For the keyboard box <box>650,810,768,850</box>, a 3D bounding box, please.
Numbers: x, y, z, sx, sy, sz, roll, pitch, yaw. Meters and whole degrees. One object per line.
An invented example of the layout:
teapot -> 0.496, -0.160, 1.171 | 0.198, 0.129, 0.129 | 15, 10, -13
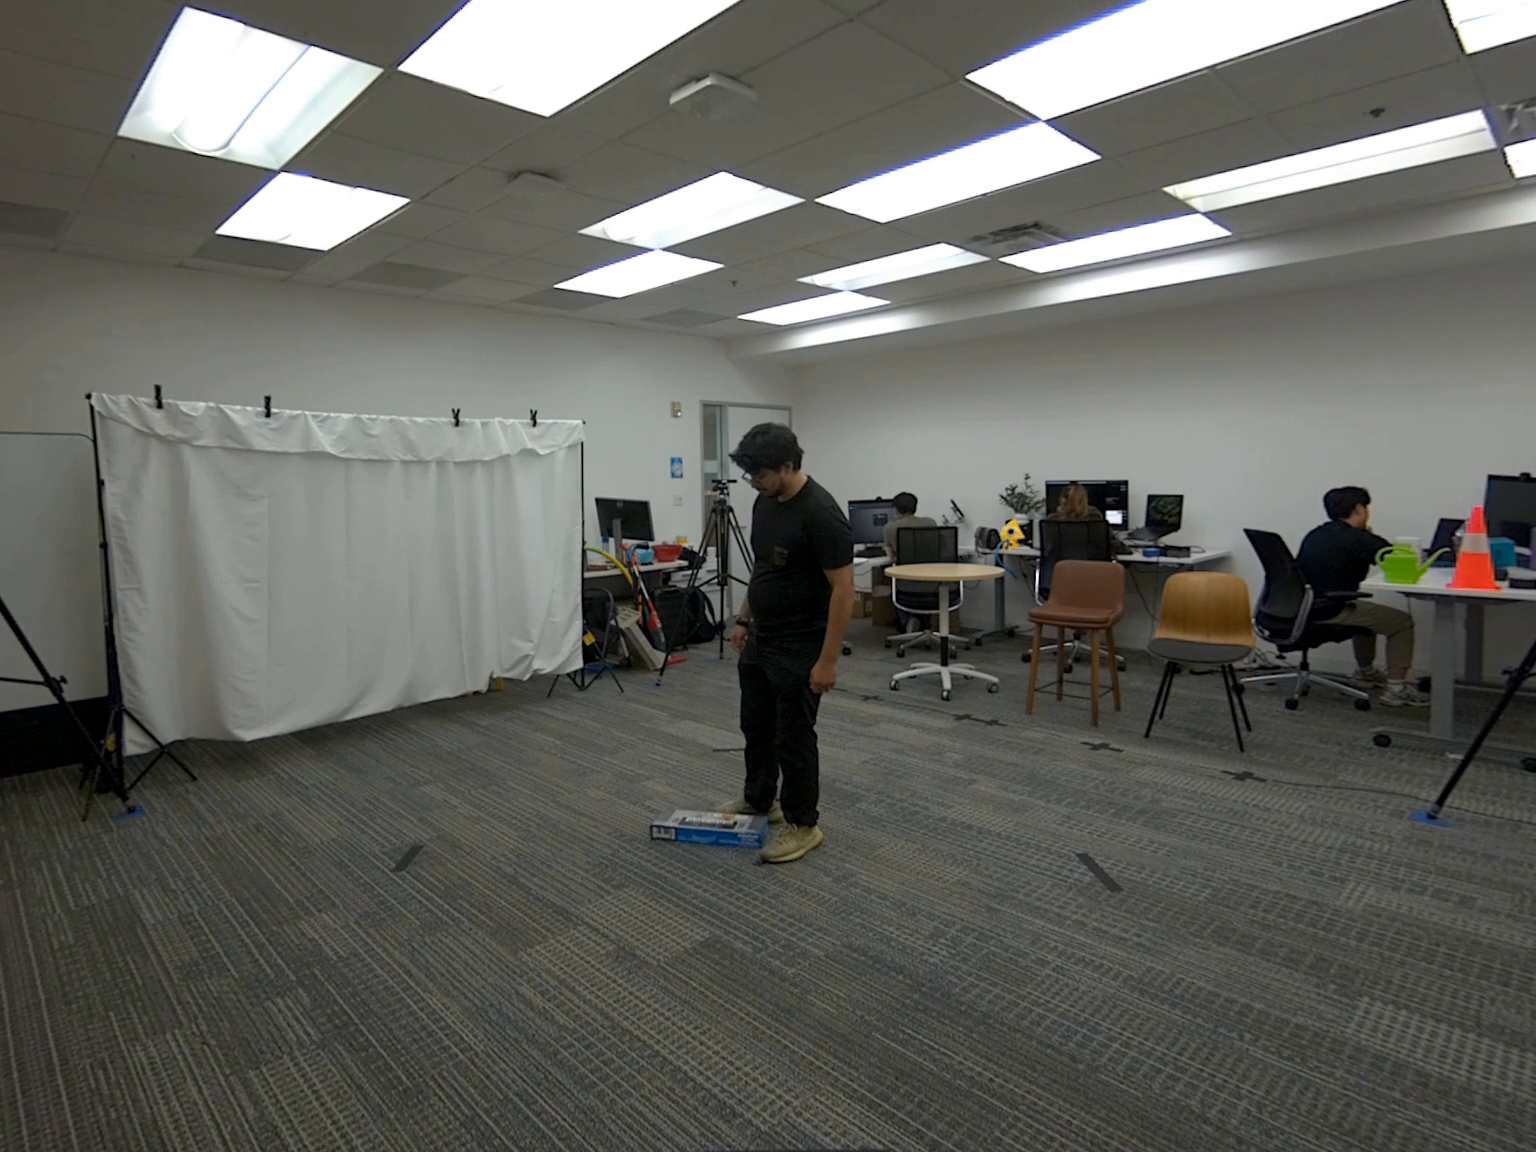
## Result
keyboard box -> -0.229, 0.993, 3.366 | 0.443, 0.059, 0.174 | 1, 5, 13
